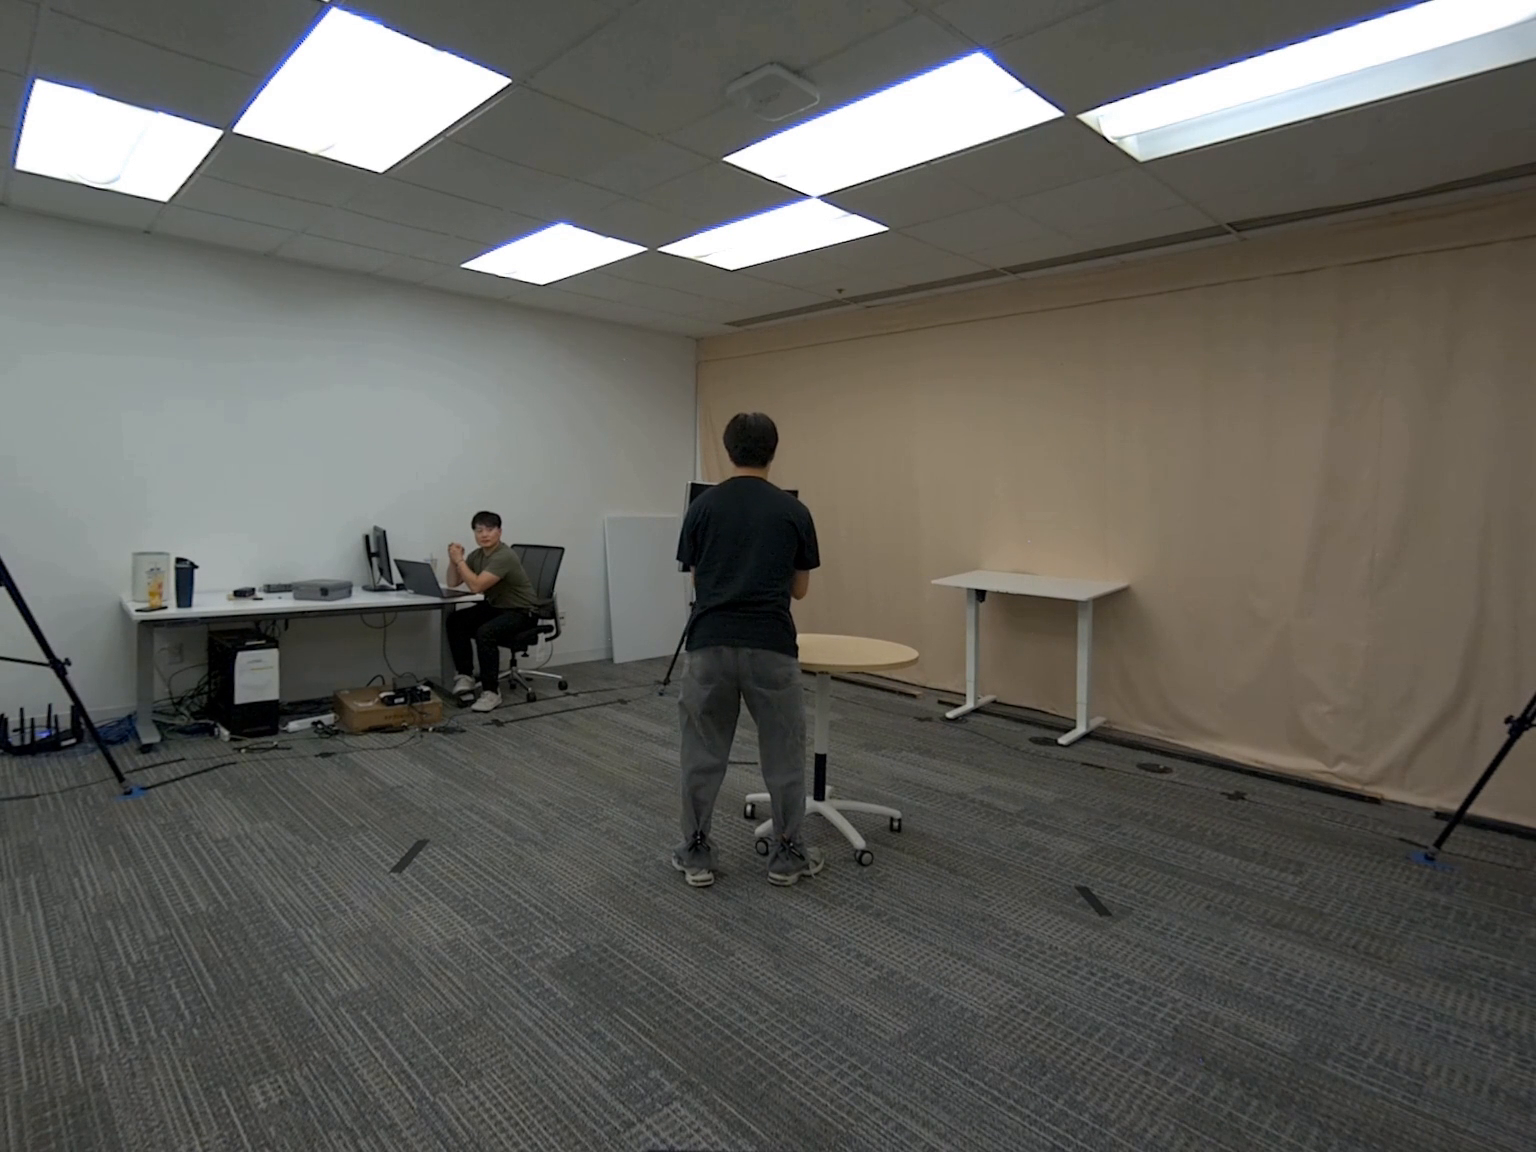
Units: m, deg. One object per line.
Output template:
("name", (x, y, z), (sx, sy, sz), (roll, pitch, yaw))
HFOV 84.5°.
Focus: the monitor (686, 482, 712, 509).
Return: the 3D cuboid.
("monitor", (-0.093, -0.091, 3.461), (0.549, 0.568, 0.226), (0, -6, -34))
